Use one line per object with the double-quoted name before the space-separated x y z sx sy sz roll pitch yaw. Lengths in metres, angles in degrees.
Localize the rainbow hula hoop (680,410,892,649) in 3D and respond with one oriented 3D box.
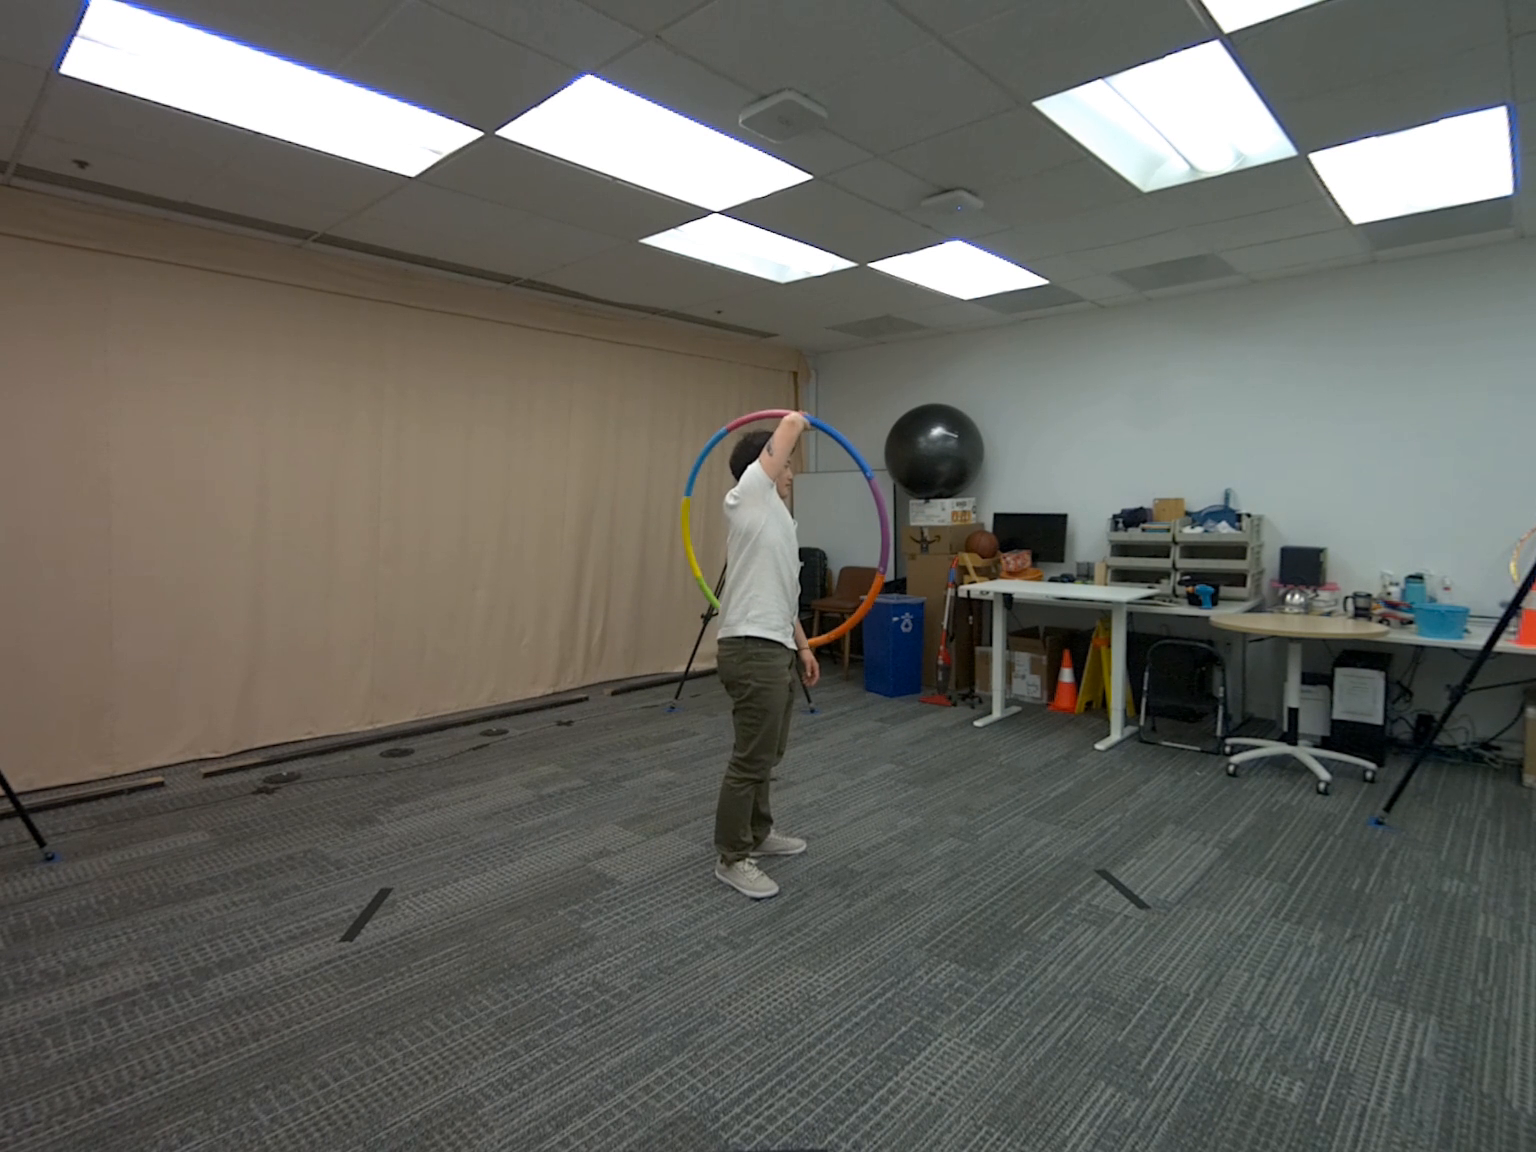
"rainbow hula hoop" 0.042 -0.184 3.475 1.008 0.972 0.035 3 11 33
